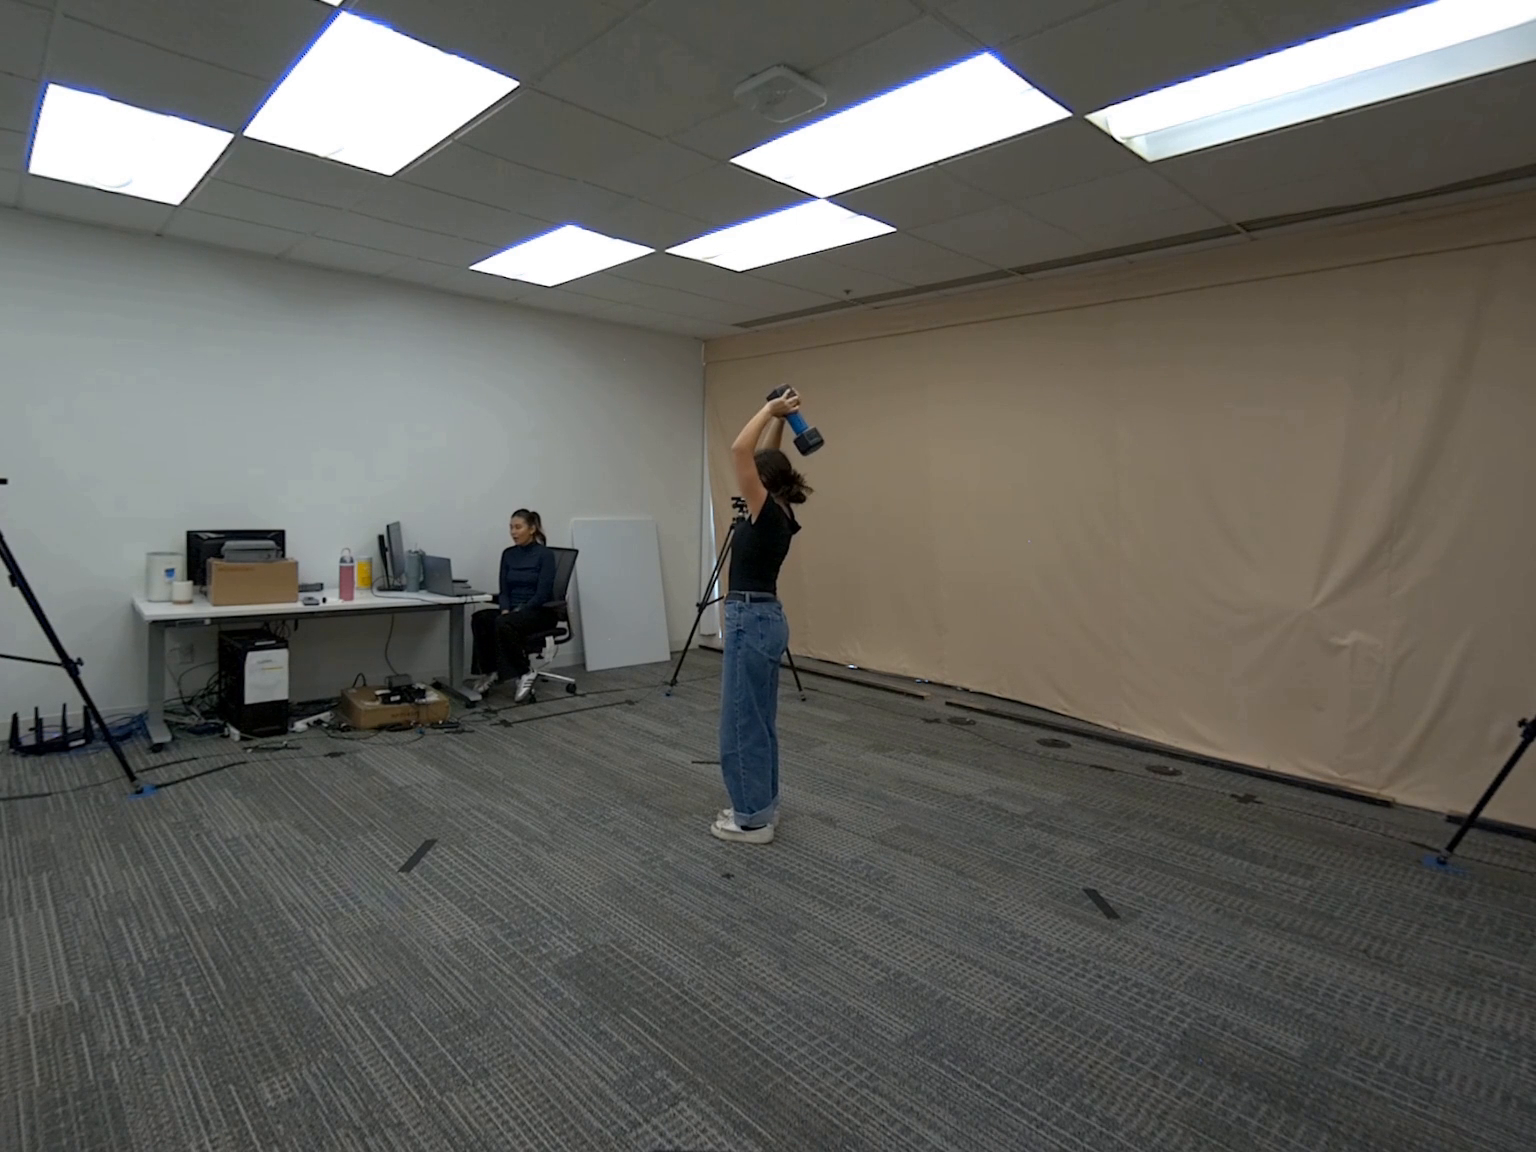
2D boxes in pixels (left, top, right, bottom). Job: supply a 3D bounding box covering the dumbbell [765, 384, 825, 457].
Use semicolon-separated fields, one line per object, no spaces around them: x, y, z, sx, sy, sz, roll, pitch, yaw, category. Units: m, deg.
0.112;-0.626;3.410;0.107;0.297;0.123;-20;-16;-47;dumbbell
